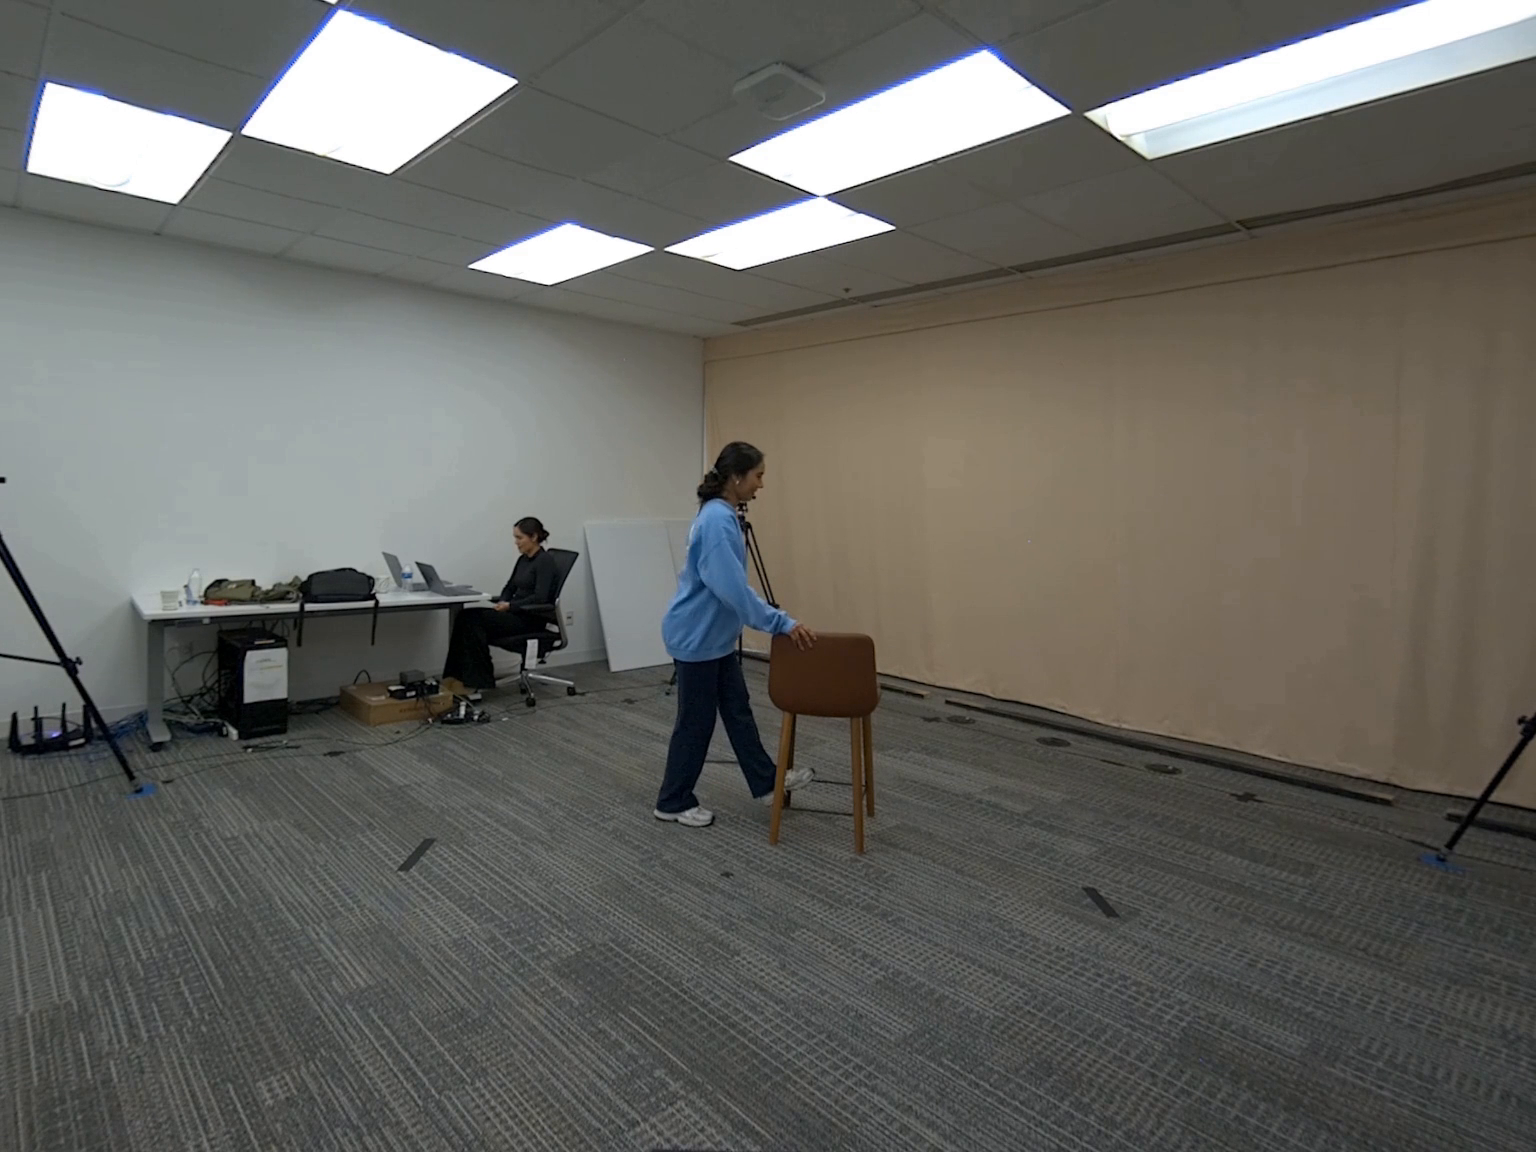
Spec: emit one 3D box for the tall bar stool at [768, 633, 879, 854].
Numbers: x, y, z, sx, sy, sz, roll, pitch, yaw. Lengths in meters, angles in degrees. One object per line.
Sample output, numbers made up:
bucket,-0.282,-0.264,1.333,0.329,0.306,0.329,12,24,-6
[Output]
tall bar stool,0.235,0.640,3.541,0.461,0.887,0.464,2,4,13
